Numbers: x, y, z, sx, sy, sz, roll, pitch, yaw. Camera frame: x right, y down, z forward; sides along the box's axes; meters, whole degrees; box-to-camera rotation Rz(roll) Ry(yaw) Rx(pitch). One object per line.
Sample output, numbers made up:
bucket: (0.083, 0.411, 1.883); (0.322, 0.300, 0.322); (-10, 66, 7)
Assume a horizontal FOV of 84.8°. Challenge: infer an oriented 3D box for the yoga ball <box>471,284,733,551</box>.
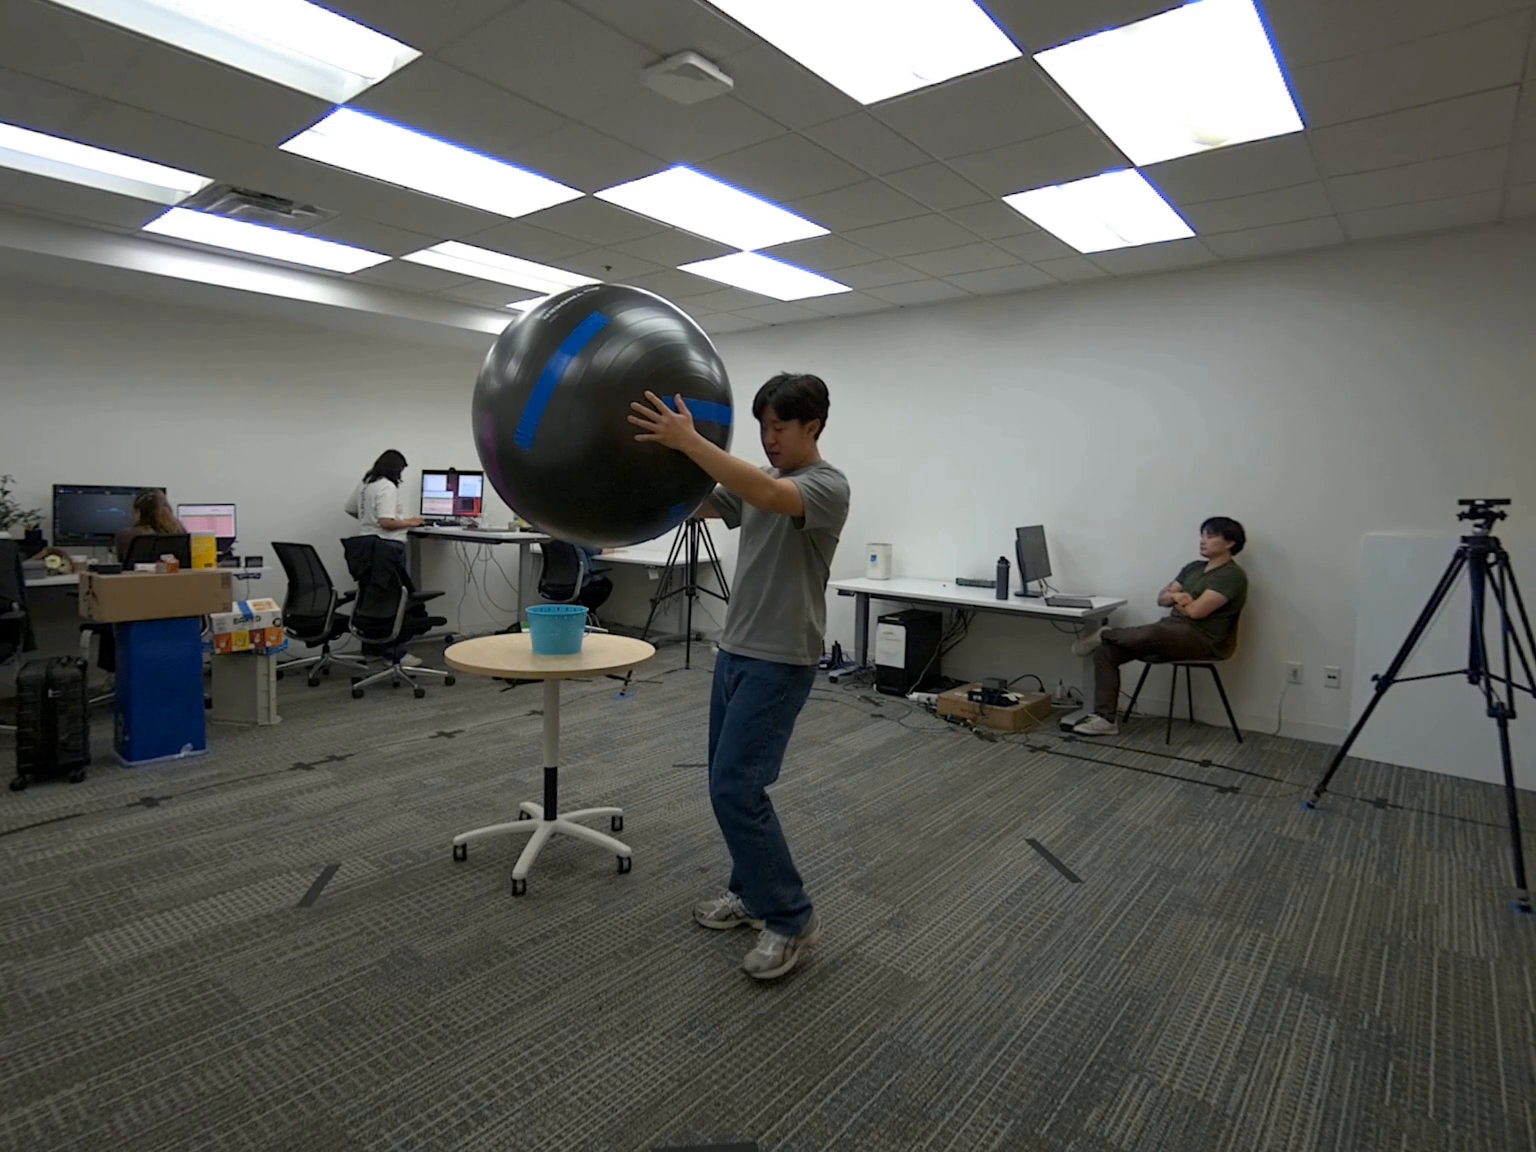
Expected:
yoga ball: (-0.494, -0.456, 2.489); (0.757, 0.755, 0.762); (1, 4, -2)
